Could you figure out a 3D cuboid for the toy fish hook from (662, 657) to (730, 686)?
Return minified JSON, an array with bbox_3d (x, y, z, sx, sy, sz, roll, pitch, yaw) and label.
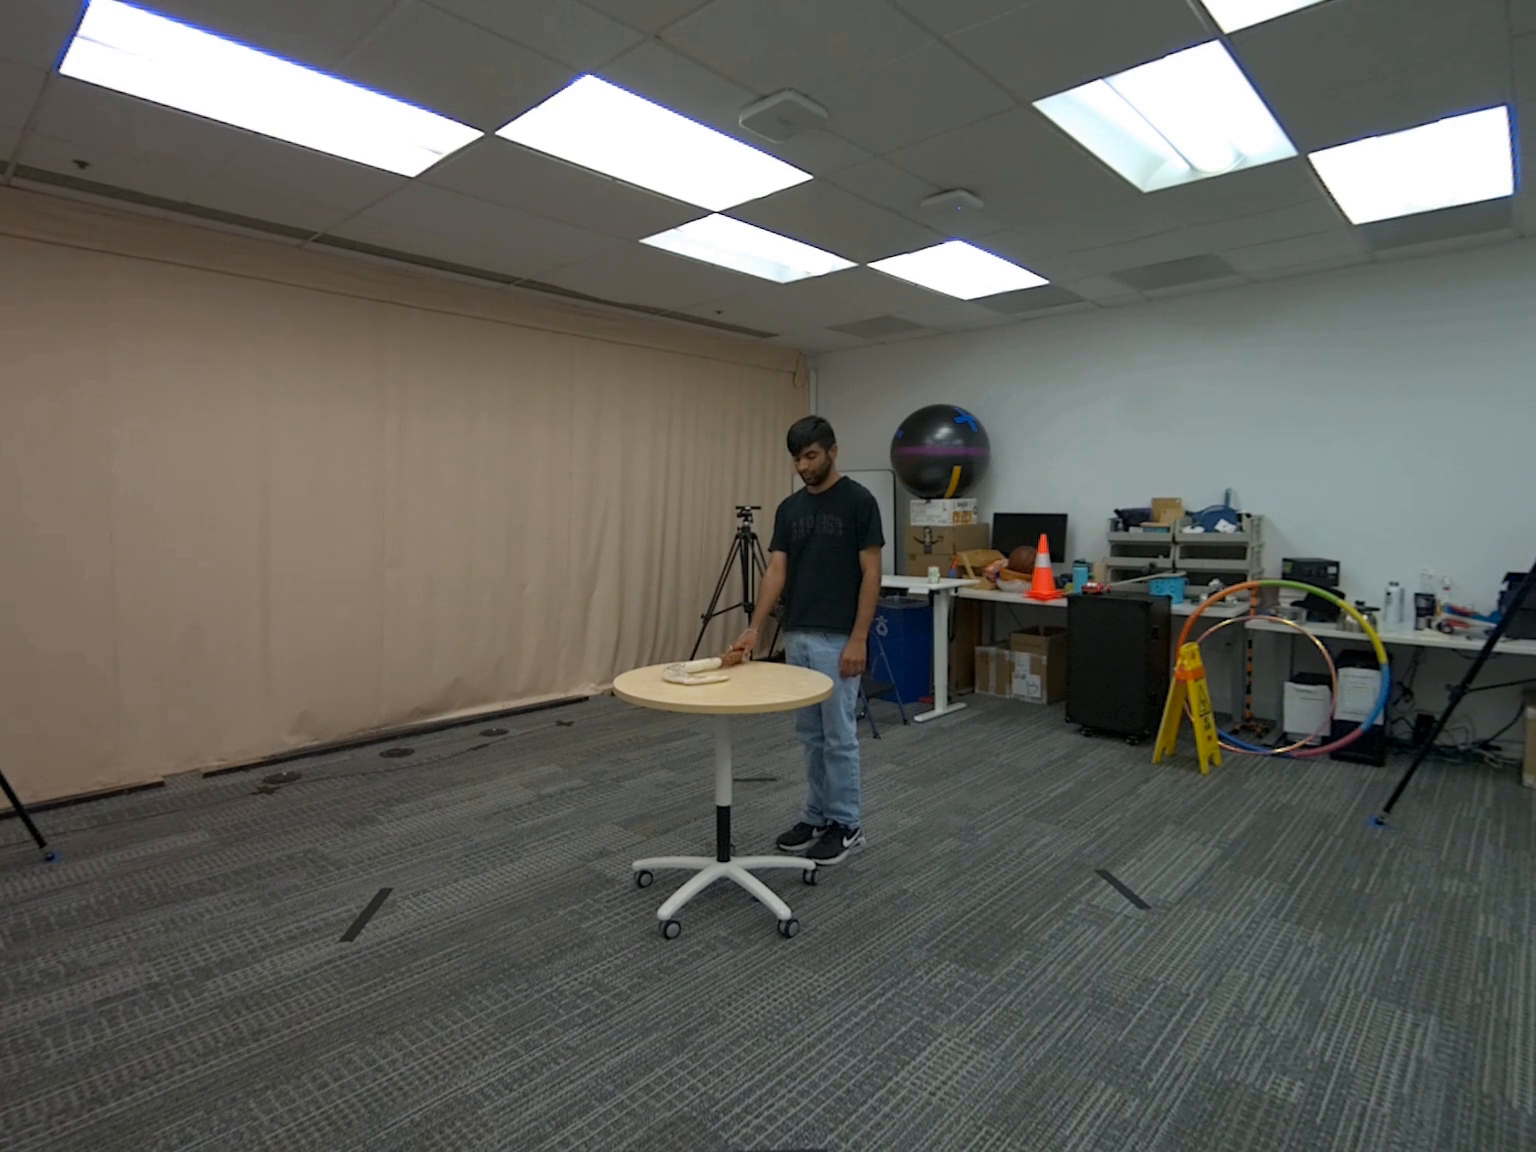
[{"bbox_3d":[-0.179,0.336,3.069,0.232,0.048,0.492,9,11,35],"label":"toy fish hook"}]
